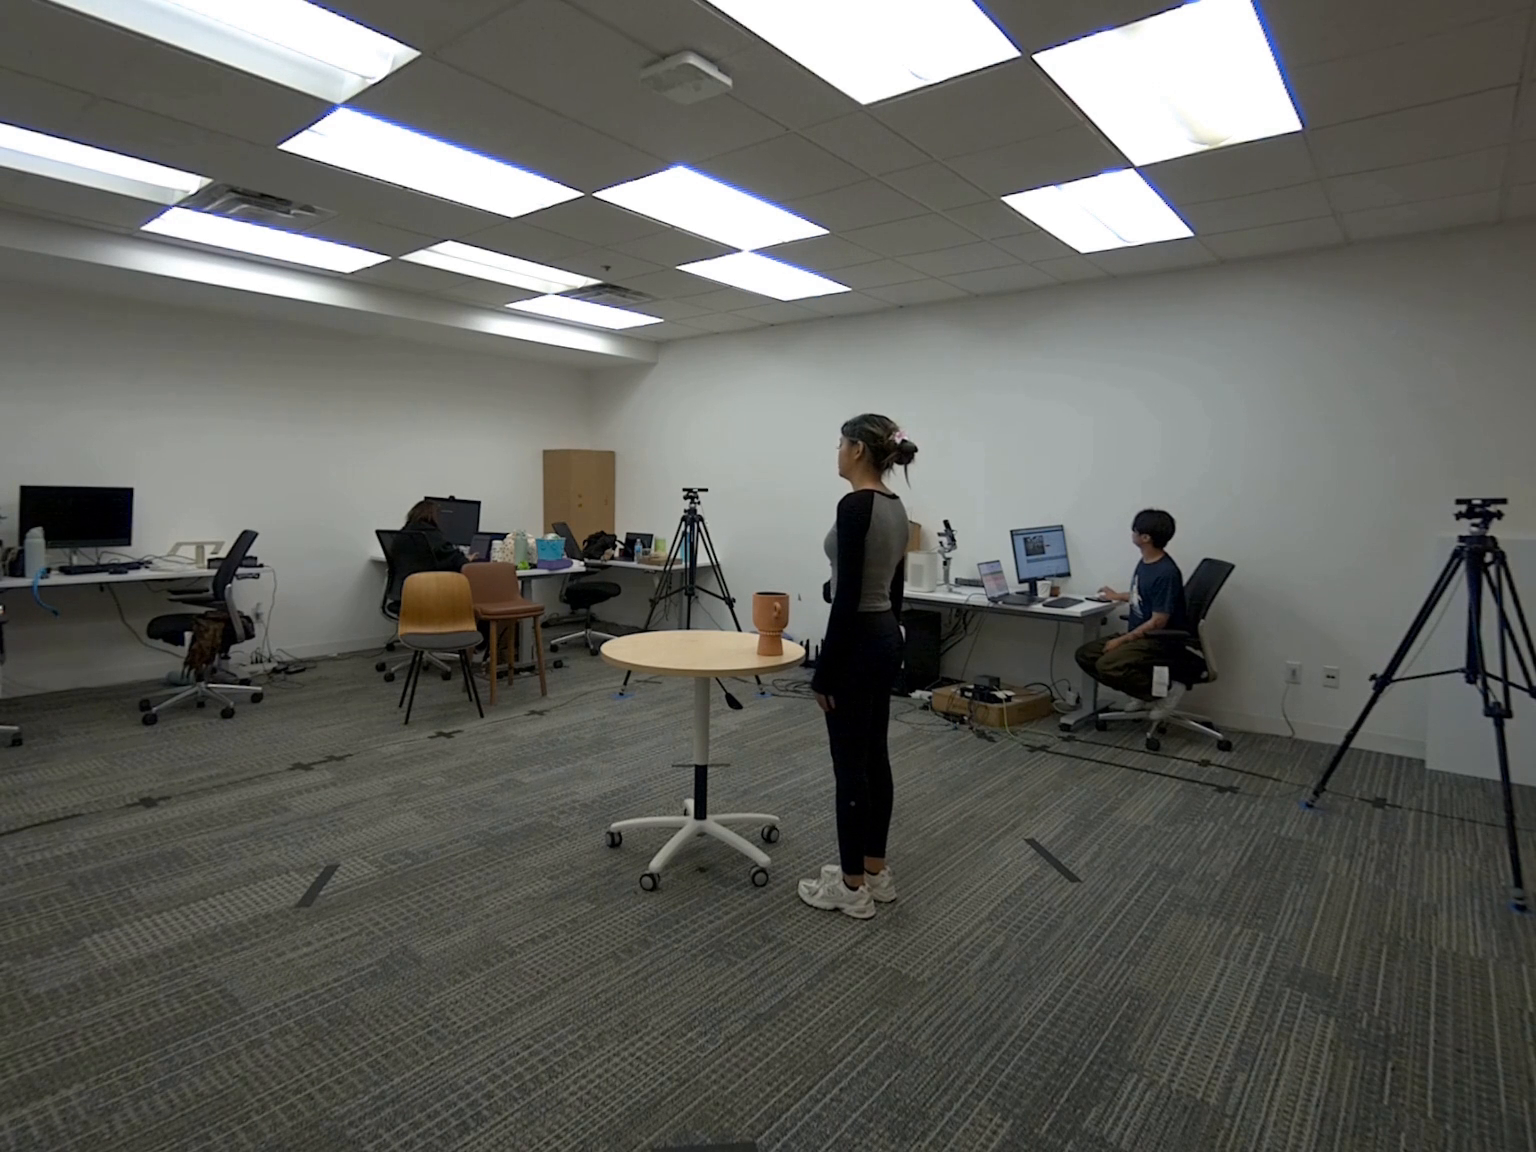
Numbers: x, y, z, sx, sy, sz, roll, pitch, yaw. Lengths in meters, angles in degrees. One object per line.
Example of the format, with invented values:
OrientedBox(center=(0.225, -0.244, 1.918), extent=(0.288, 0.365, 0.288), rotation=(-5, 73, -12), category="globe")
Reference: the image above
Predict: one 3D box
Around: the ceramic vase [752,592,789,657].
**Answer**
OrientedBox(center=(-0.002, 0.171, 3.107), extent=(0.138, 0.219, 0.155), rotation=(2, 3, 23), category="ceramic vase")
